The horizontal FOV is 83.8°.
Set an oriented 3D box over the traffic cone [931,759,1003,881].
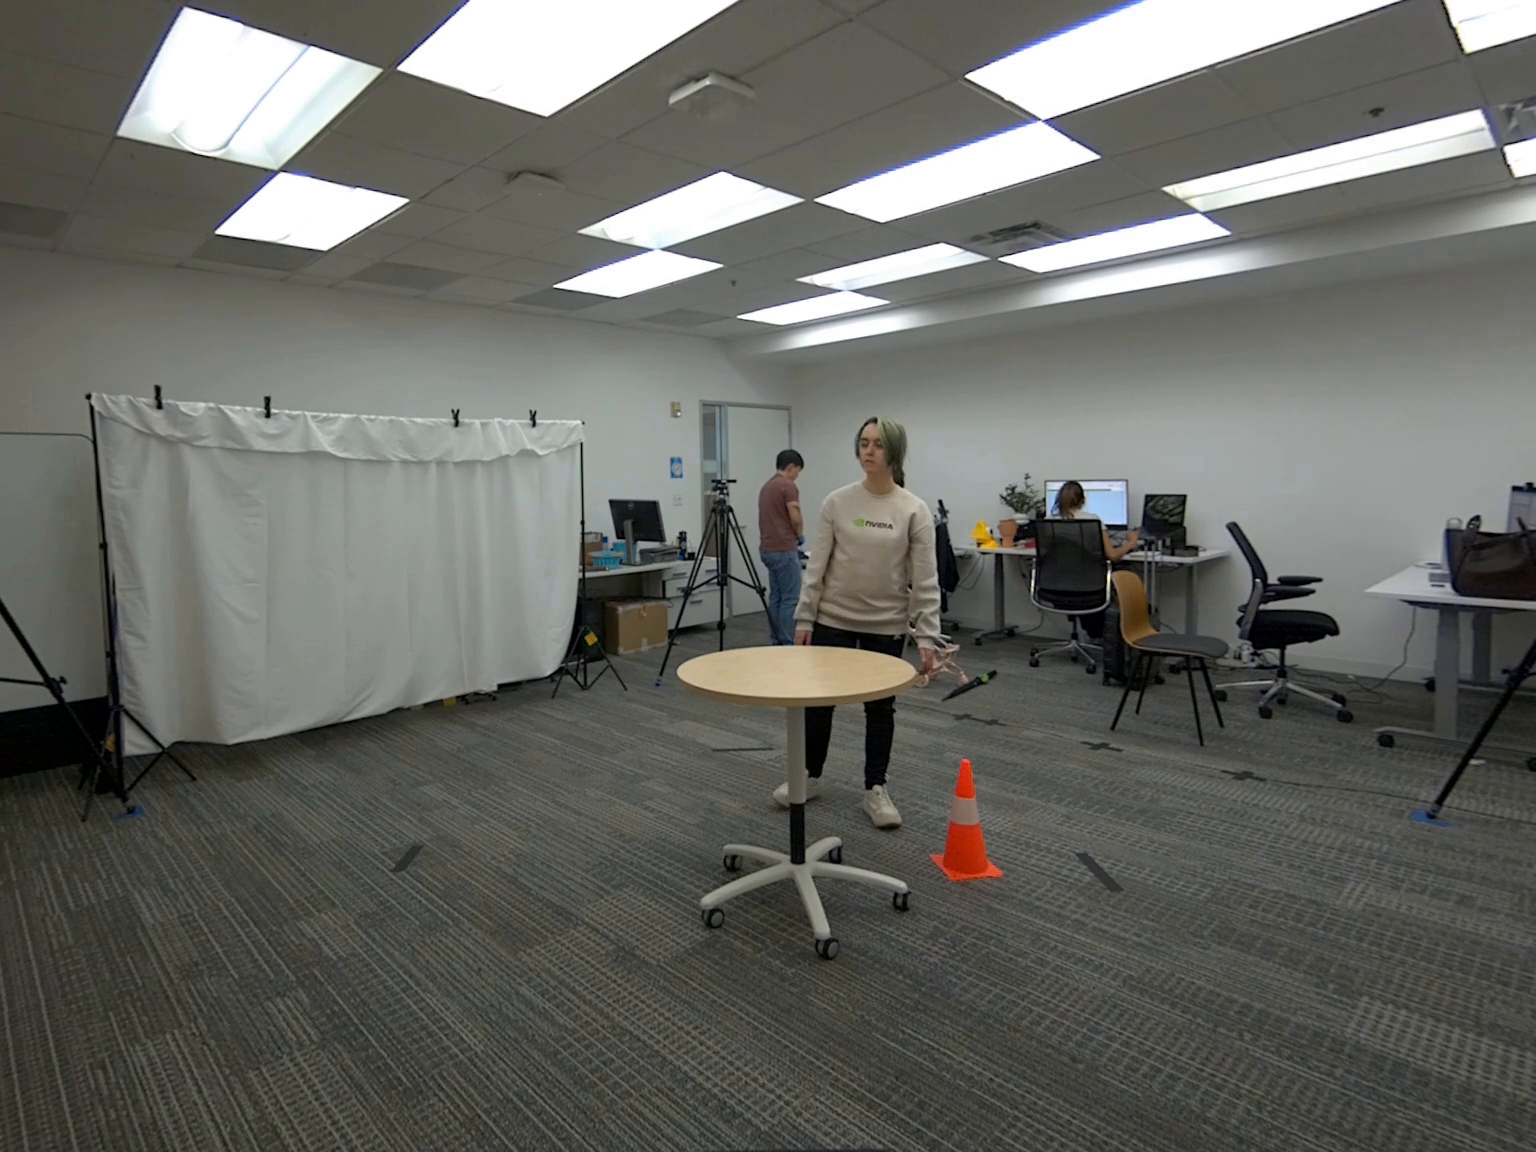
[{"bbox_3d":[0.716,0.857,3.050,0.199,0.382,0.210,-4,5,-22],"label":"traffic cone"}]
